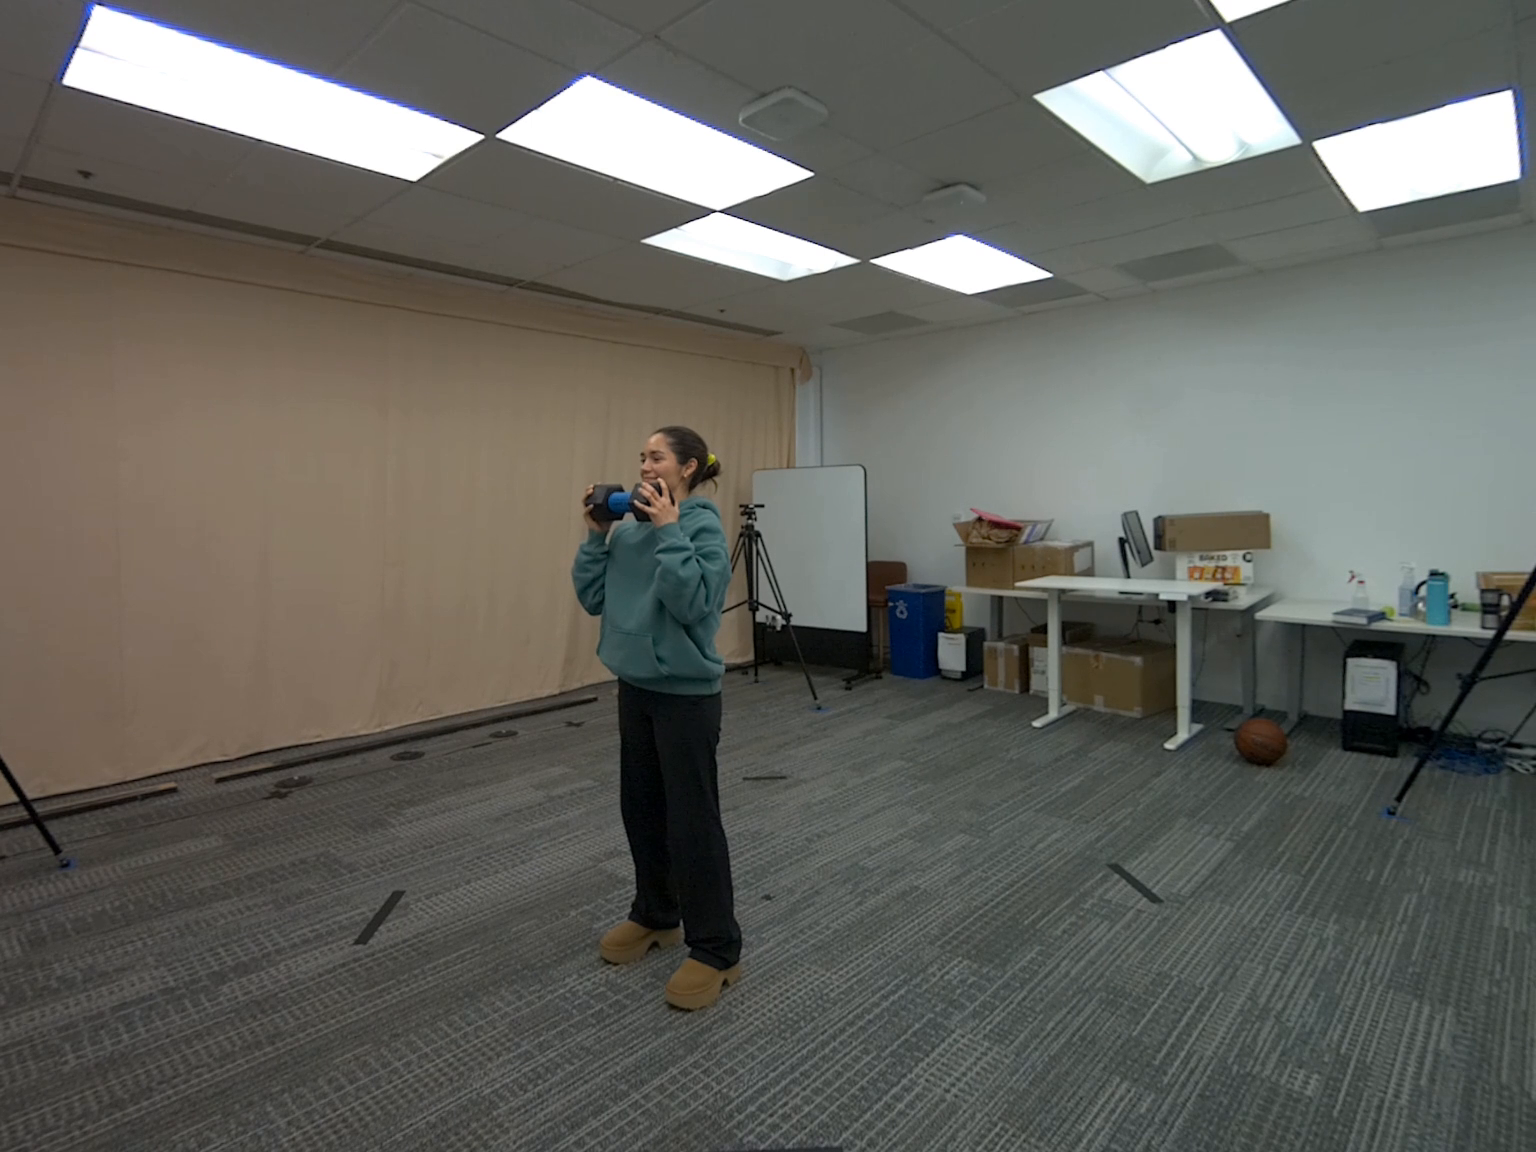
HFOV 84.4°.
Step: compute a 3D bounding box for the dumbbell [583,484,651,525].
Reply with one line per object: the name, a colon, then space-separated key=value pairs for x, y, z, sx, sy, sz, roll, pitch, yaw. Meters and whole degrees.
dumbbell: x=-0.393 y=-0.208 z=2.401 sx=0.303 sy=0.120 sz=0.107 roll=5 pitch=38 yaw=48
